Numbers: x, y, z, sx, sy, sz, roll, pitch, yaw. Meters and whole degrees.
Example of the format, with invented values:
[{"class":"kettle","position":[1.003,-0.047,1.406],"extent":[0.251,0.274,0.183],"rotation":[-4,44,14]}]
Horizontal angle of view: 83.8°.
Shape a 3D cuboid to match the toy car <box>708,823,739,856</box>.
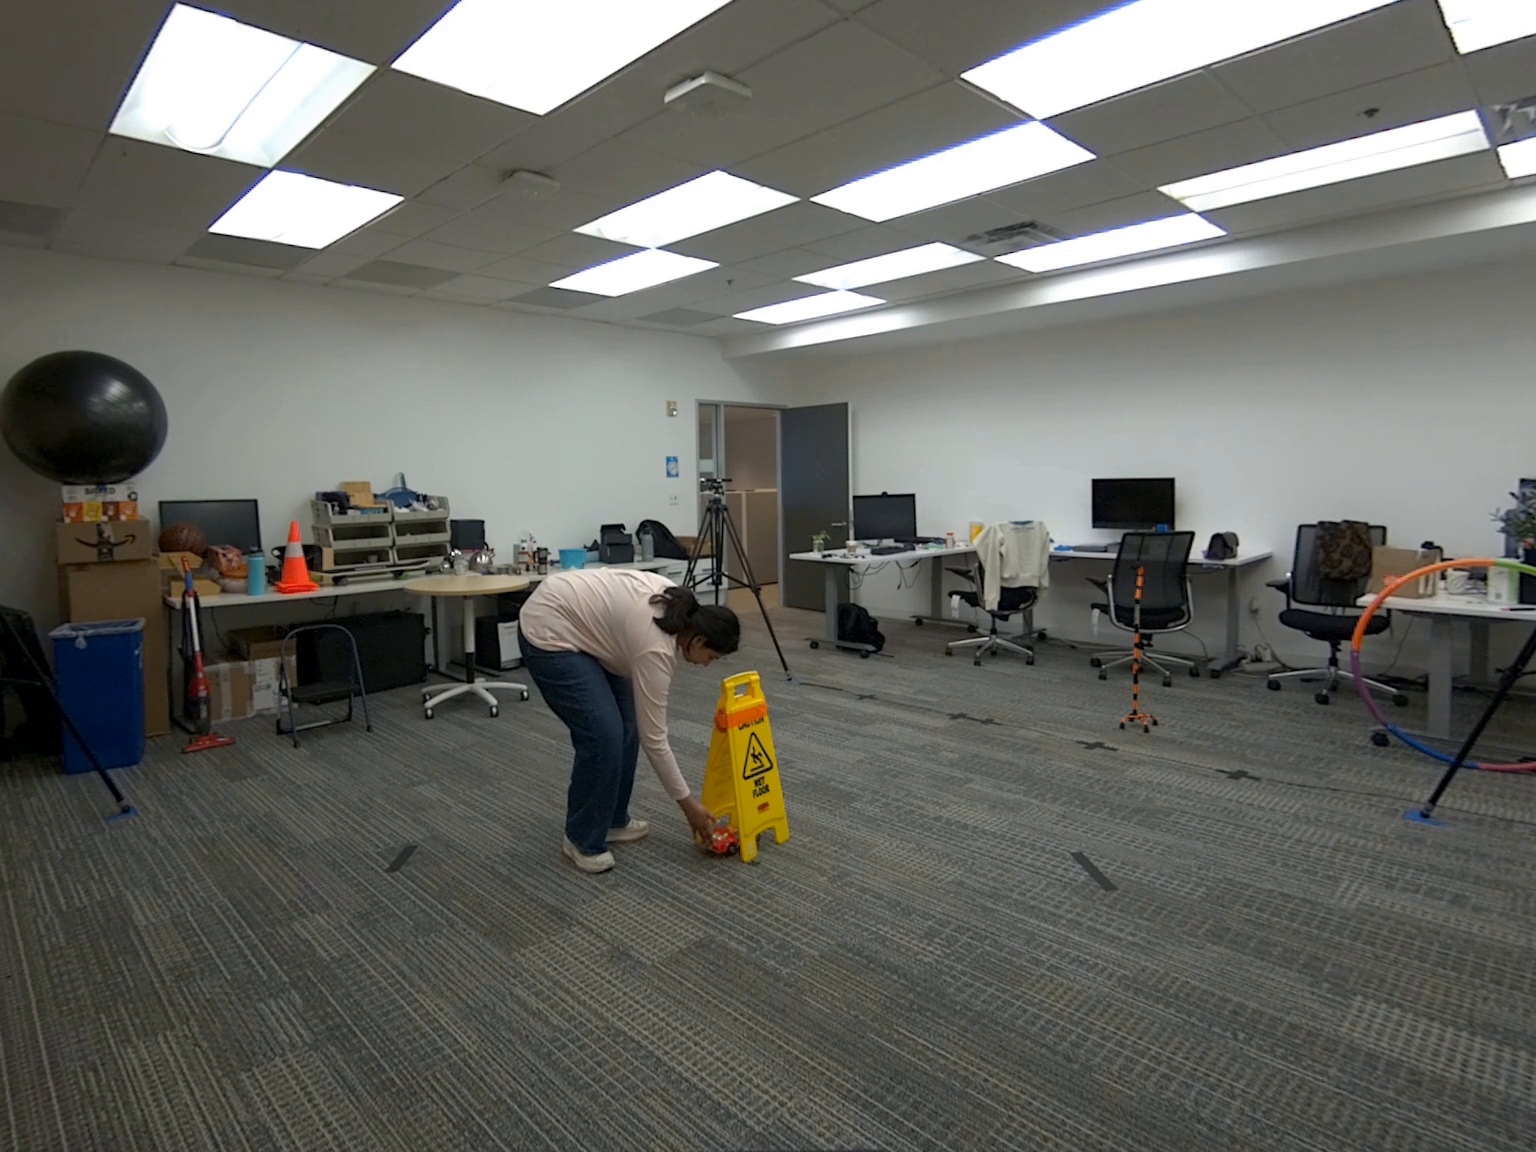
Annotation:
[{"class":"toy car","position":[-0.150,0.994,3.224],"extent":[0.134,0.083,0.246],"rotation":[1,-5,44]}]
